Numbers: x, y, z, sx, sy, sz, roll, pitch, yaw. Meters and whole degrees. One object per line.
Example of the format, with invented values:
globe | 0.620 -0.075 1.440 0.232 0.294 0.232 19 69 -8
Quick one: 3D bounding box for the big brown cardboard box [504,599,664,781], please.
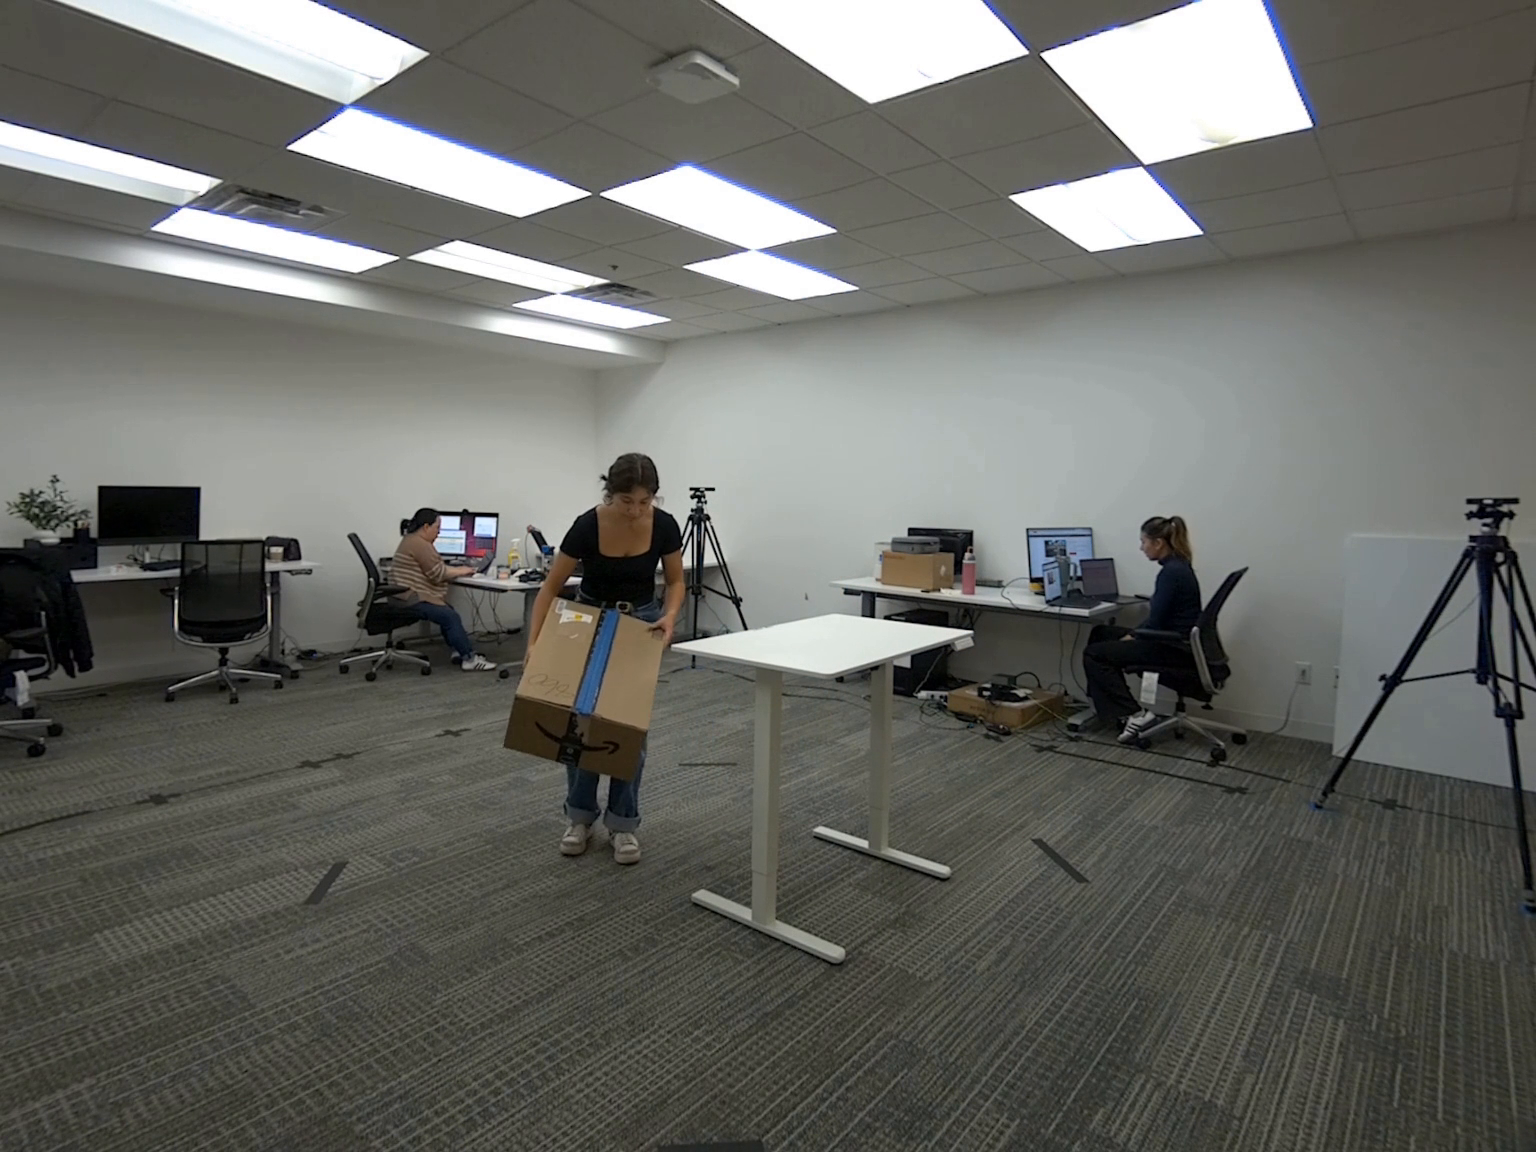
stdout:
big brown cardboard box | -0.596 0.359 2.833 0.415 0.229 0.602 14 29 -6
